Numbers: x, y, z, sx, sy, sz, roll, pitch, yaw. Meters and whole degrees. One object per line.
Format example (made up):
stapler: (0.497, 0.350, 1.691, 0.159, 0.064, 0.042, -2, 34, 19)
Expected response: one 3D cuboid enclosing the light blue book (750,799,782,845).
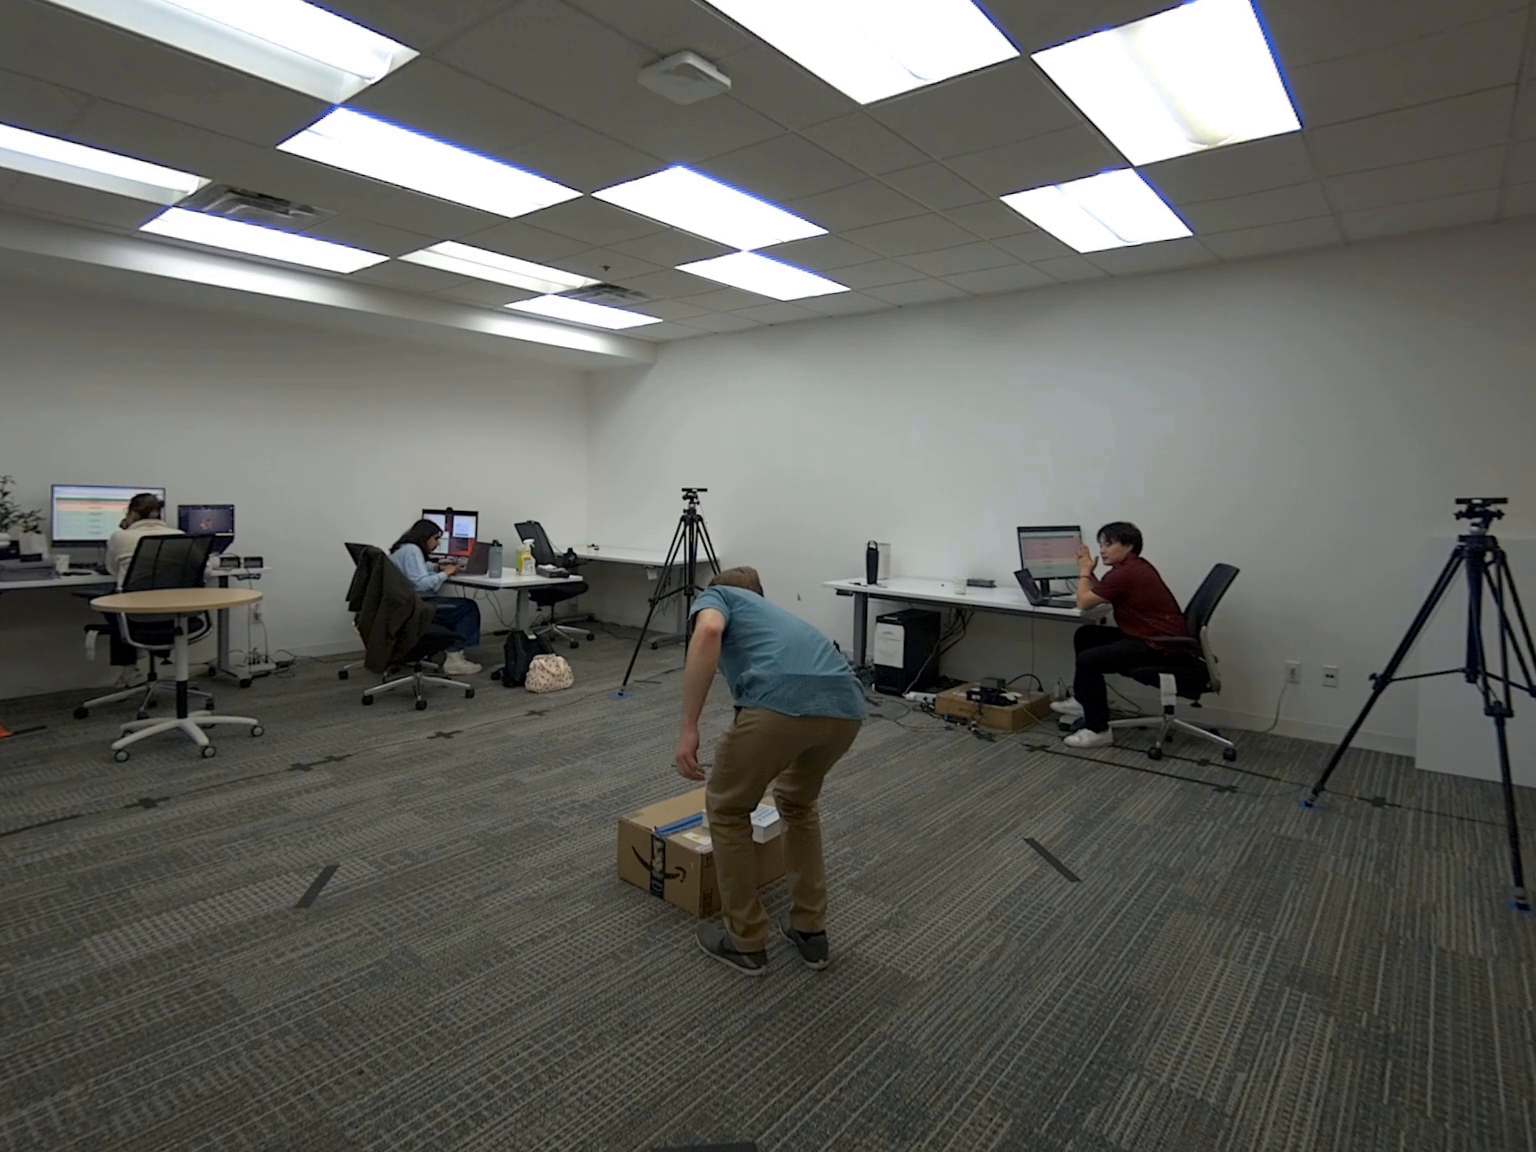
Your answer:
light blue book: (-0.083, 0.836, 2.965, 0.269, 0.059, 0.186, 3, 5, 34)
